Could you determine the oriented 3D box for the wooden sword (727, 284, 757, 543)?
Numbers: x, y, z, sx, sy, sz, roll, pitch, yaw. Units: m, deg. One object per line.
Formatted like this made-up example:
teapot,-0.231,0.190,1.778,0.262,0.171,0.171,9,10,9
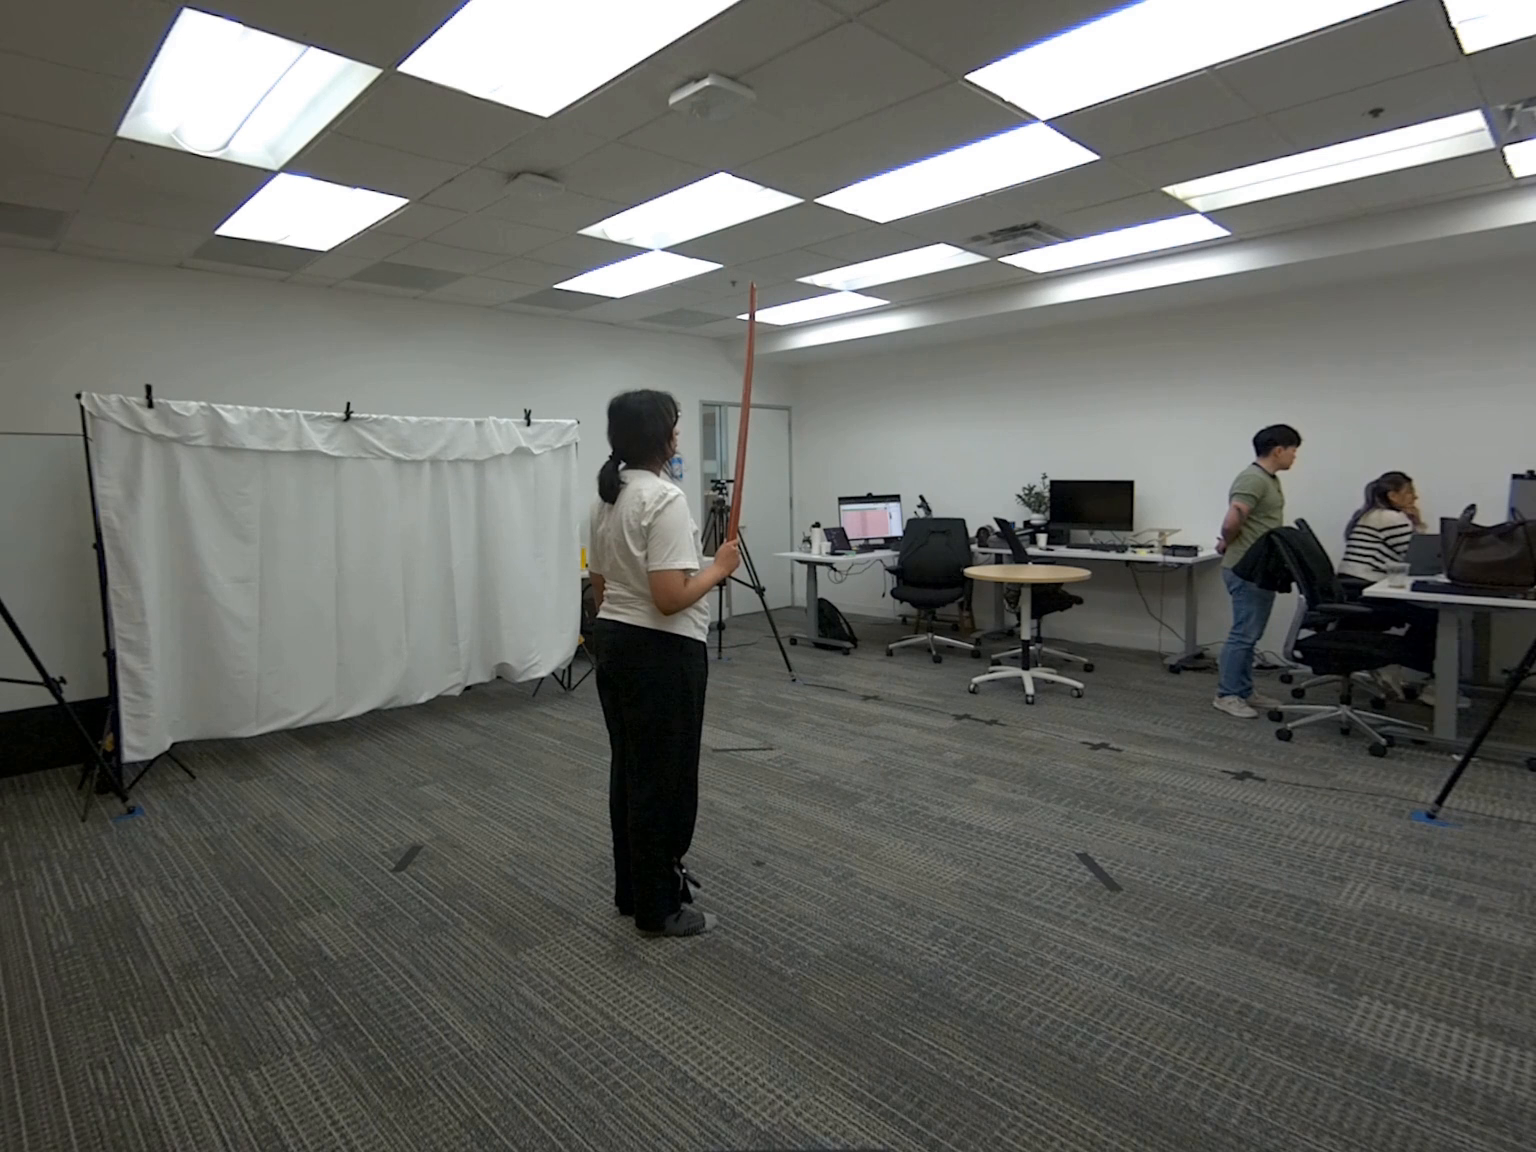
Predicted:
wooden sword,-0.073,-0.510,2.800,0.024,1.038,0.051,9,-17,-16
